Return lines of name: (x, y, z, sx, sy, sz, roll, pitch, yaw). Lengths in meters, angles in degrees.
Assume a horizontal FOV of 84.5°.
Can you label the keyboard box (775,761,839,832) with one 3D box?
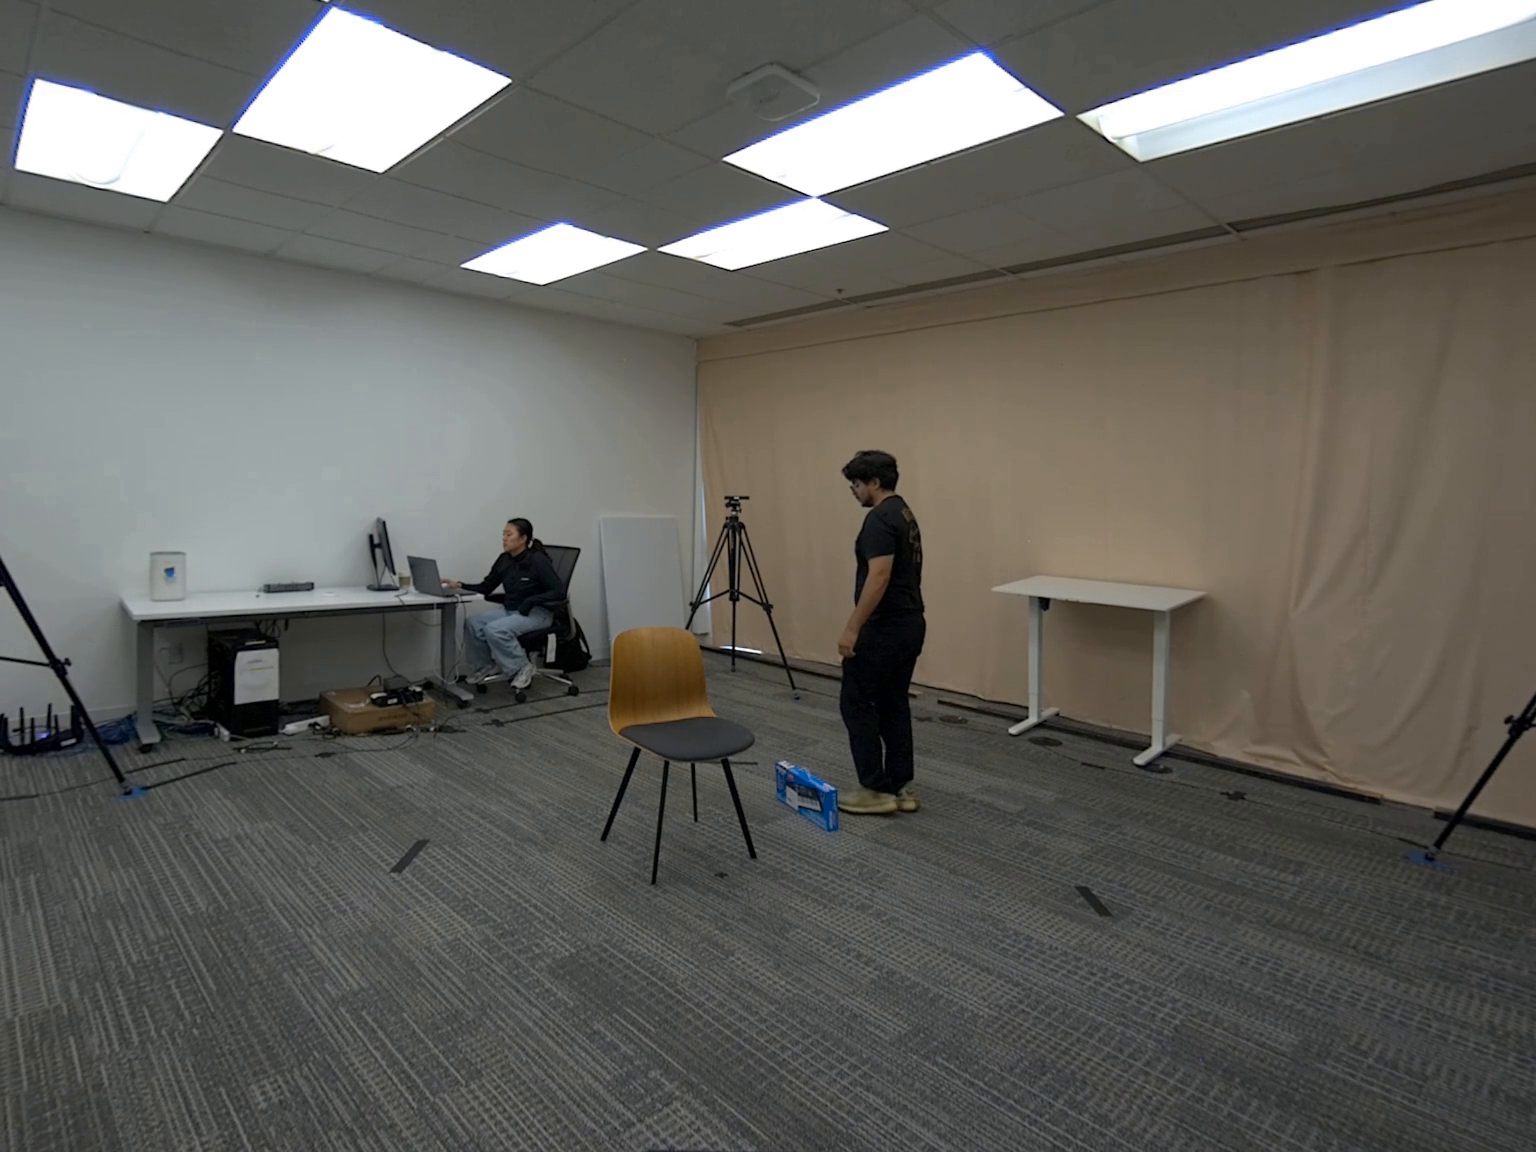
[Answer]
keyboard box: (0.158, 0.973, 3.742, 0.058, 0.175, 0.446, -4, 7, -29)
